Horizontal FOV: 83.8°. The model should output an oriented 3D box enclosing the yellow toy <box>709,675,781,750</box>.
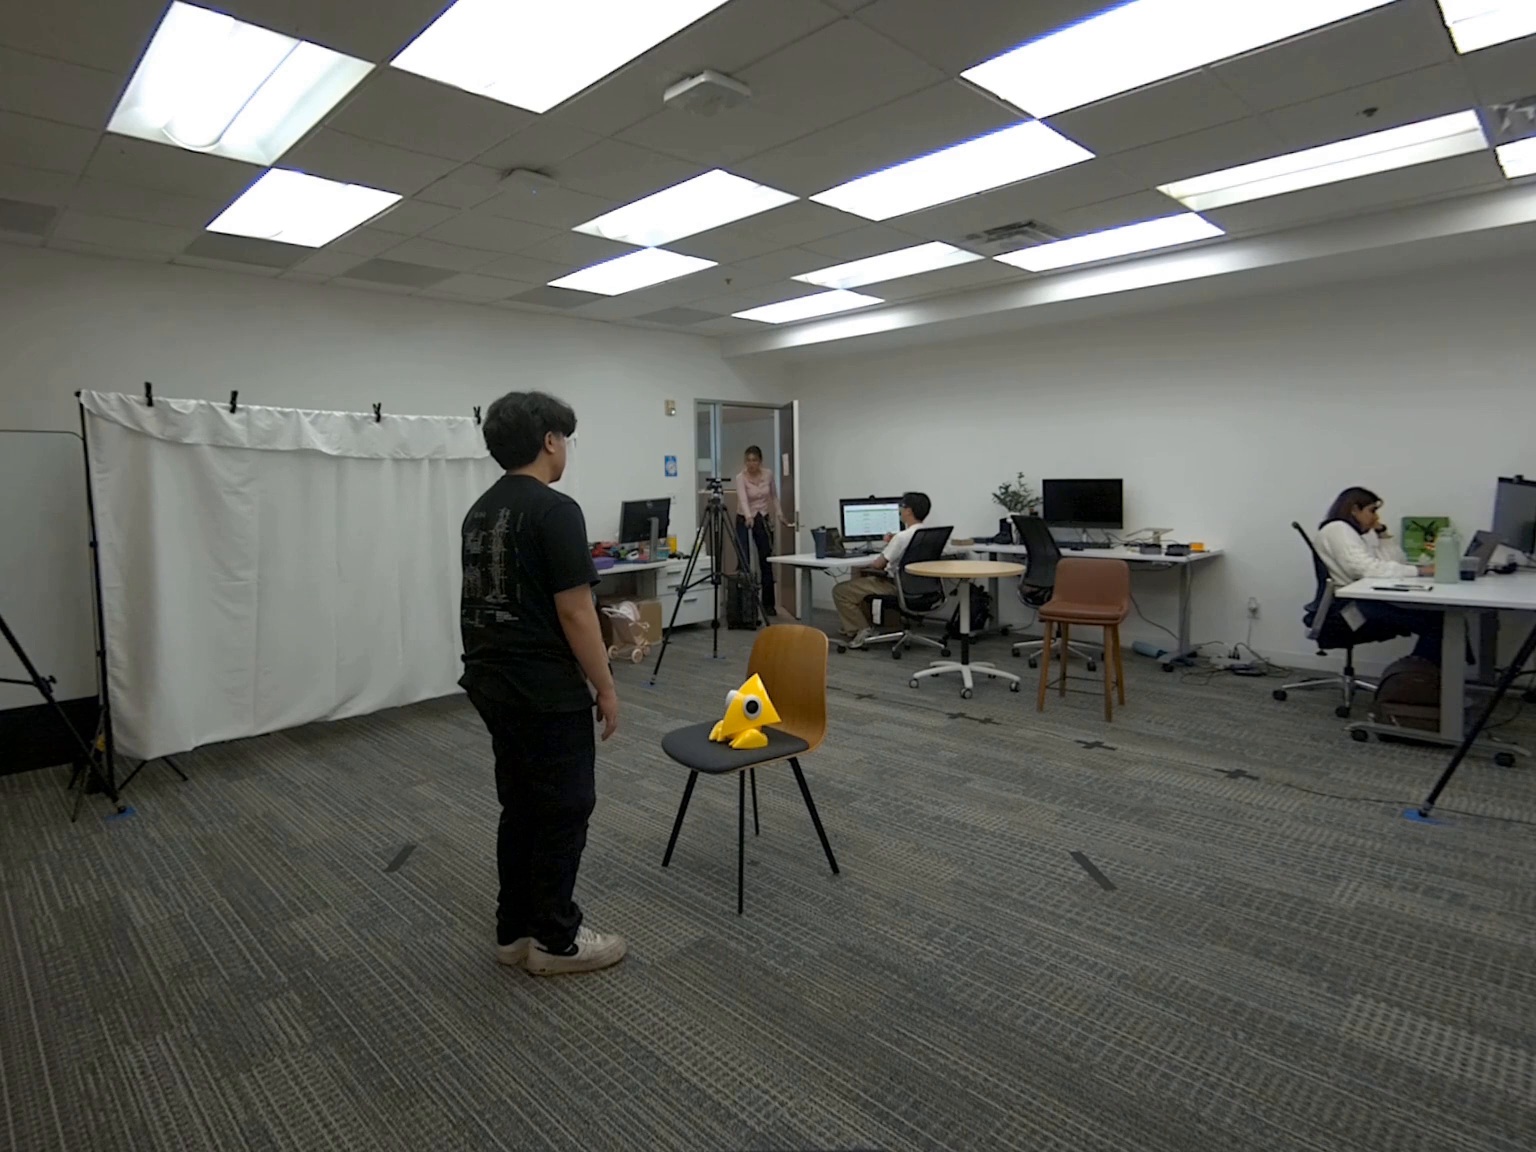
[{"bbox_3d":[-0.086,0.465,2.991,0.187,0.230,0.211,1,3,-41],"label":"yellow toy"}]
